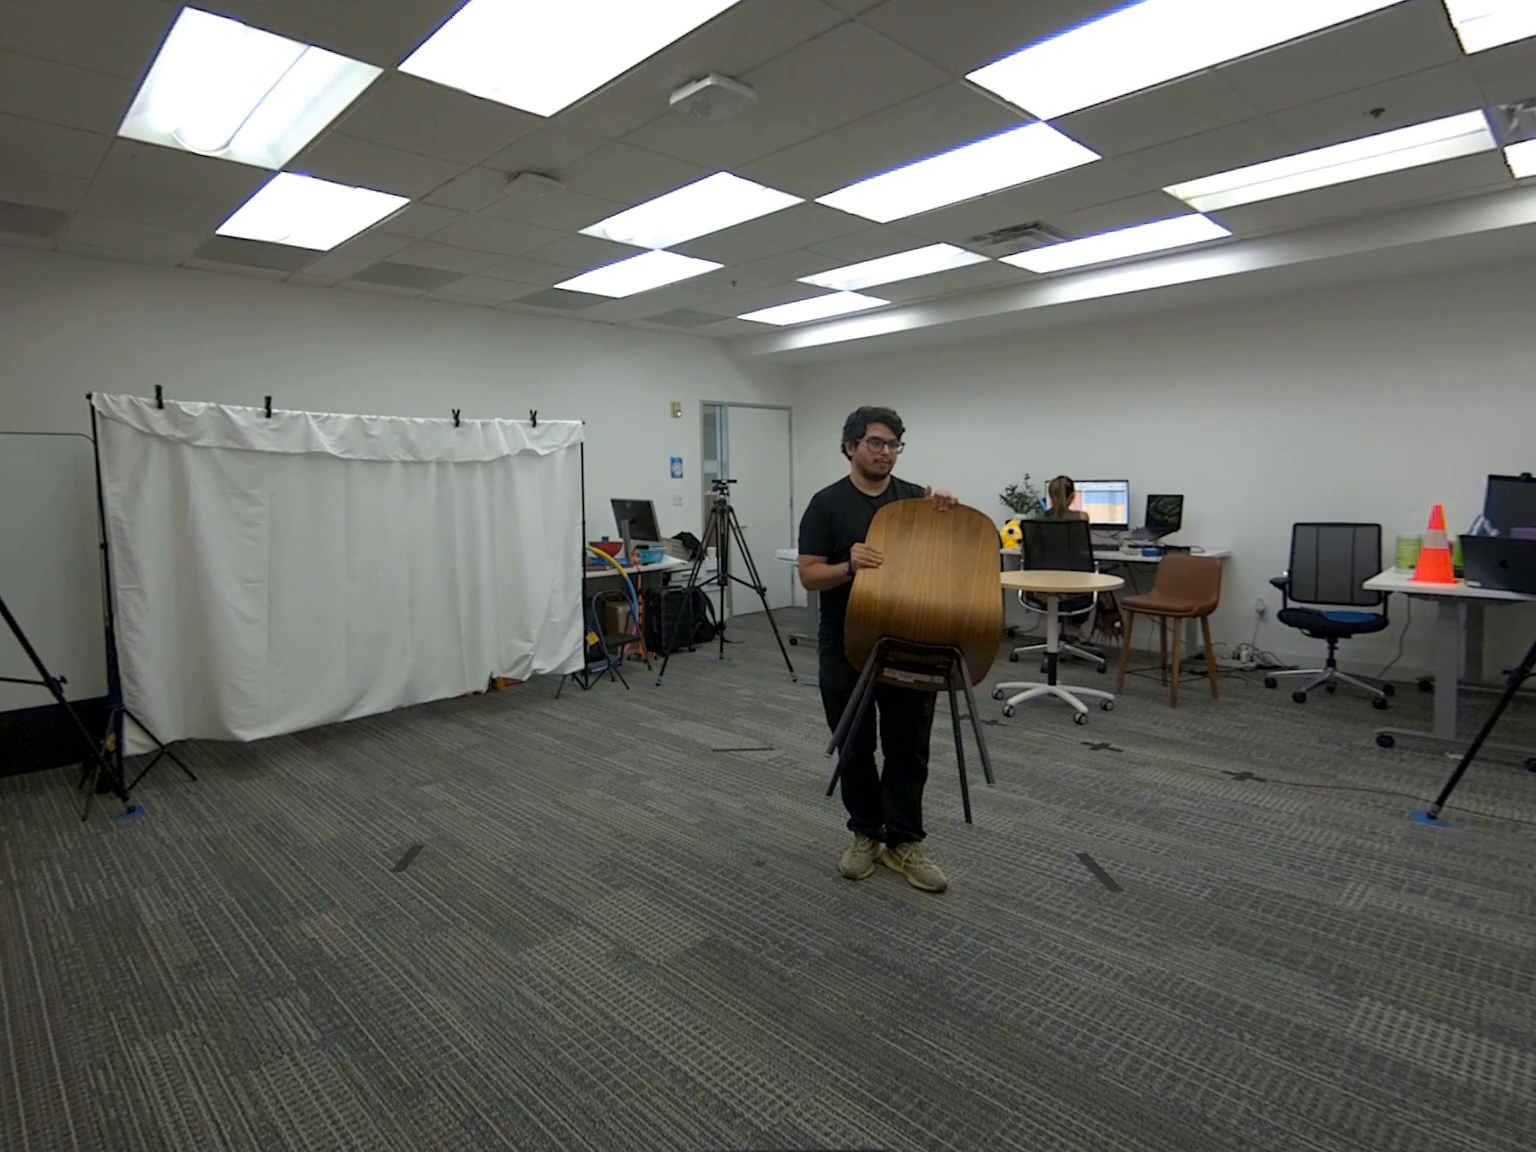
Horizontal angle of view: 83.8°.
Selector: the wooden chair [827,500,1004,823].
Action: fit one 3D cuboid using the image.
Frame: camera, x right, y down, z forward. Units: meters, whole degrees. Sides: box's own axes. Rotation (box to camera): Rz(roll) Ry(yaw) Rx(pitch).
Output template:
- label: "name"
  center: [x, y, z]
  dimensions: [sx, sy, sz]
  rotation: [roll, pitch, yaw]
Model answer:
- label: "wooden chair"
  center: [0.485, 0.260, 2.689]
  dimensions: [0.483, 0.892, 0.509]
  rotation: [5, -26, 9]
